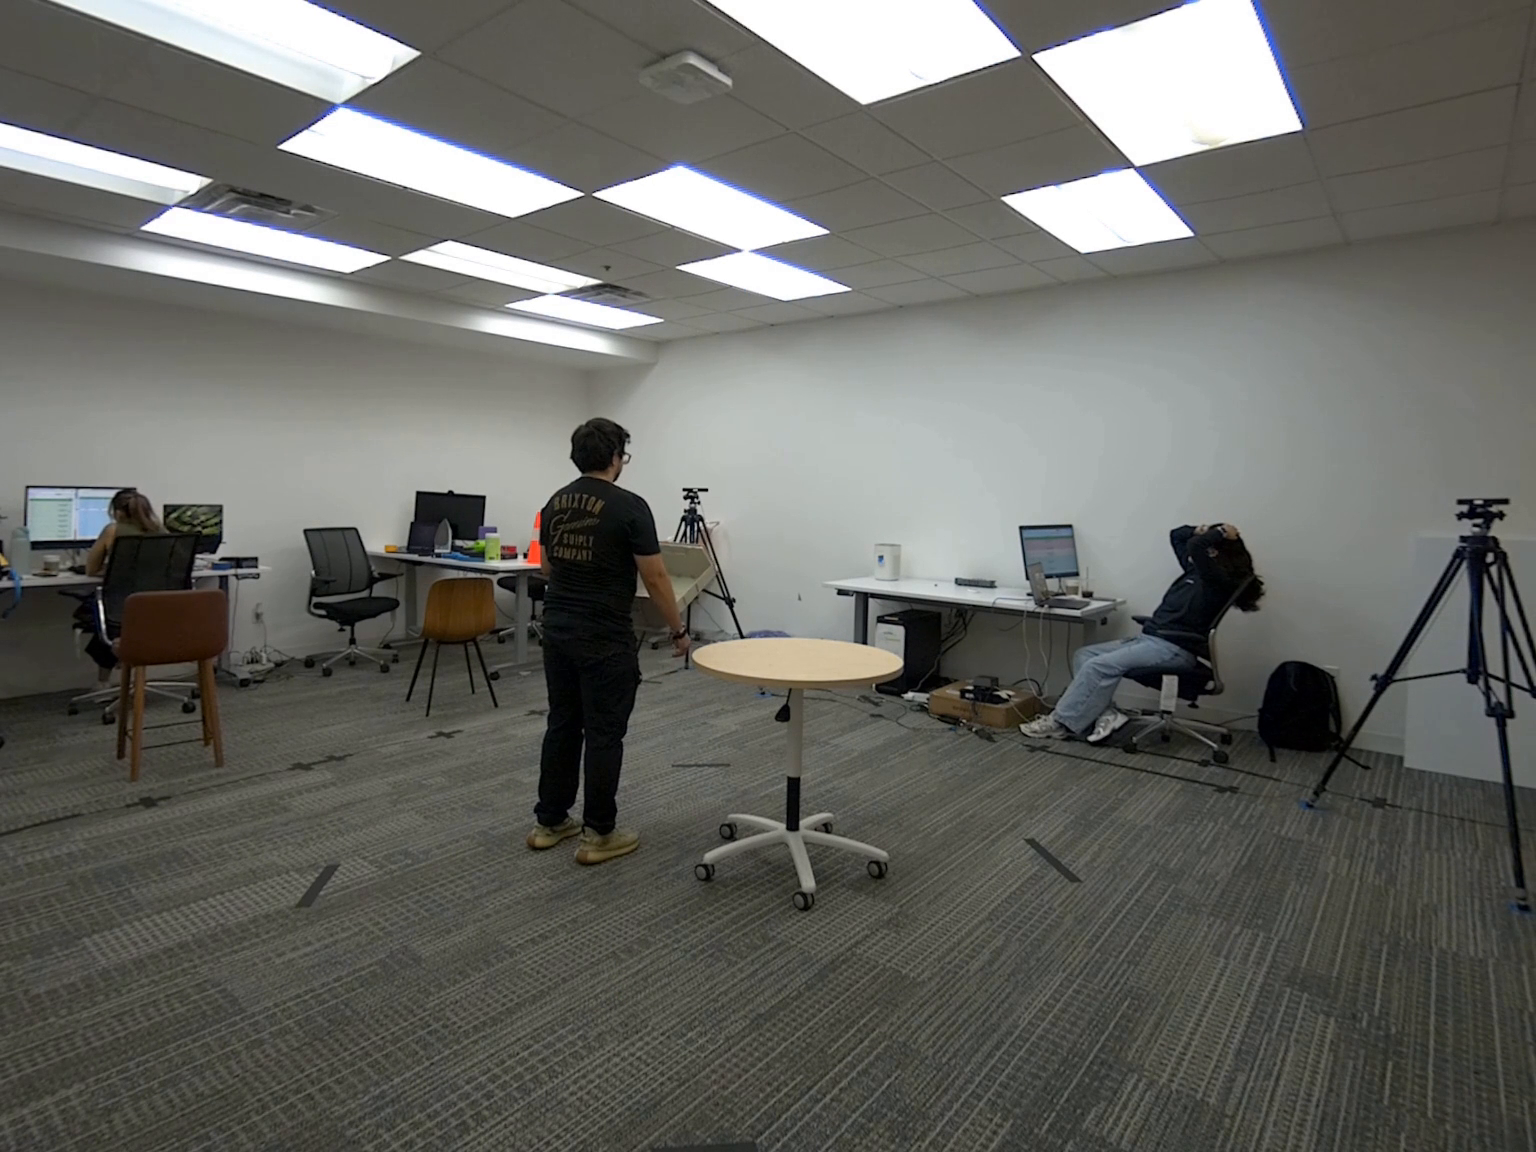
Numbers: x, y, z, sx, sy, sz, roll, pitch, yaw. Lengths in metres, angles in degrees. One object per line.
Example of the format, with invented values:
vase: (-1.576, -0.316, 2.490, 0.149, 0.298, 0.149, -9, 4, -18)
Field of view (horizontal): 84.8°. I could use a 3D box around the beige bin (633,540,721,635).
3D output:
beige bin: (-0.493, 0.034, 3.664, 0.389, 0.183, 0.422, 4, 33, 31)
